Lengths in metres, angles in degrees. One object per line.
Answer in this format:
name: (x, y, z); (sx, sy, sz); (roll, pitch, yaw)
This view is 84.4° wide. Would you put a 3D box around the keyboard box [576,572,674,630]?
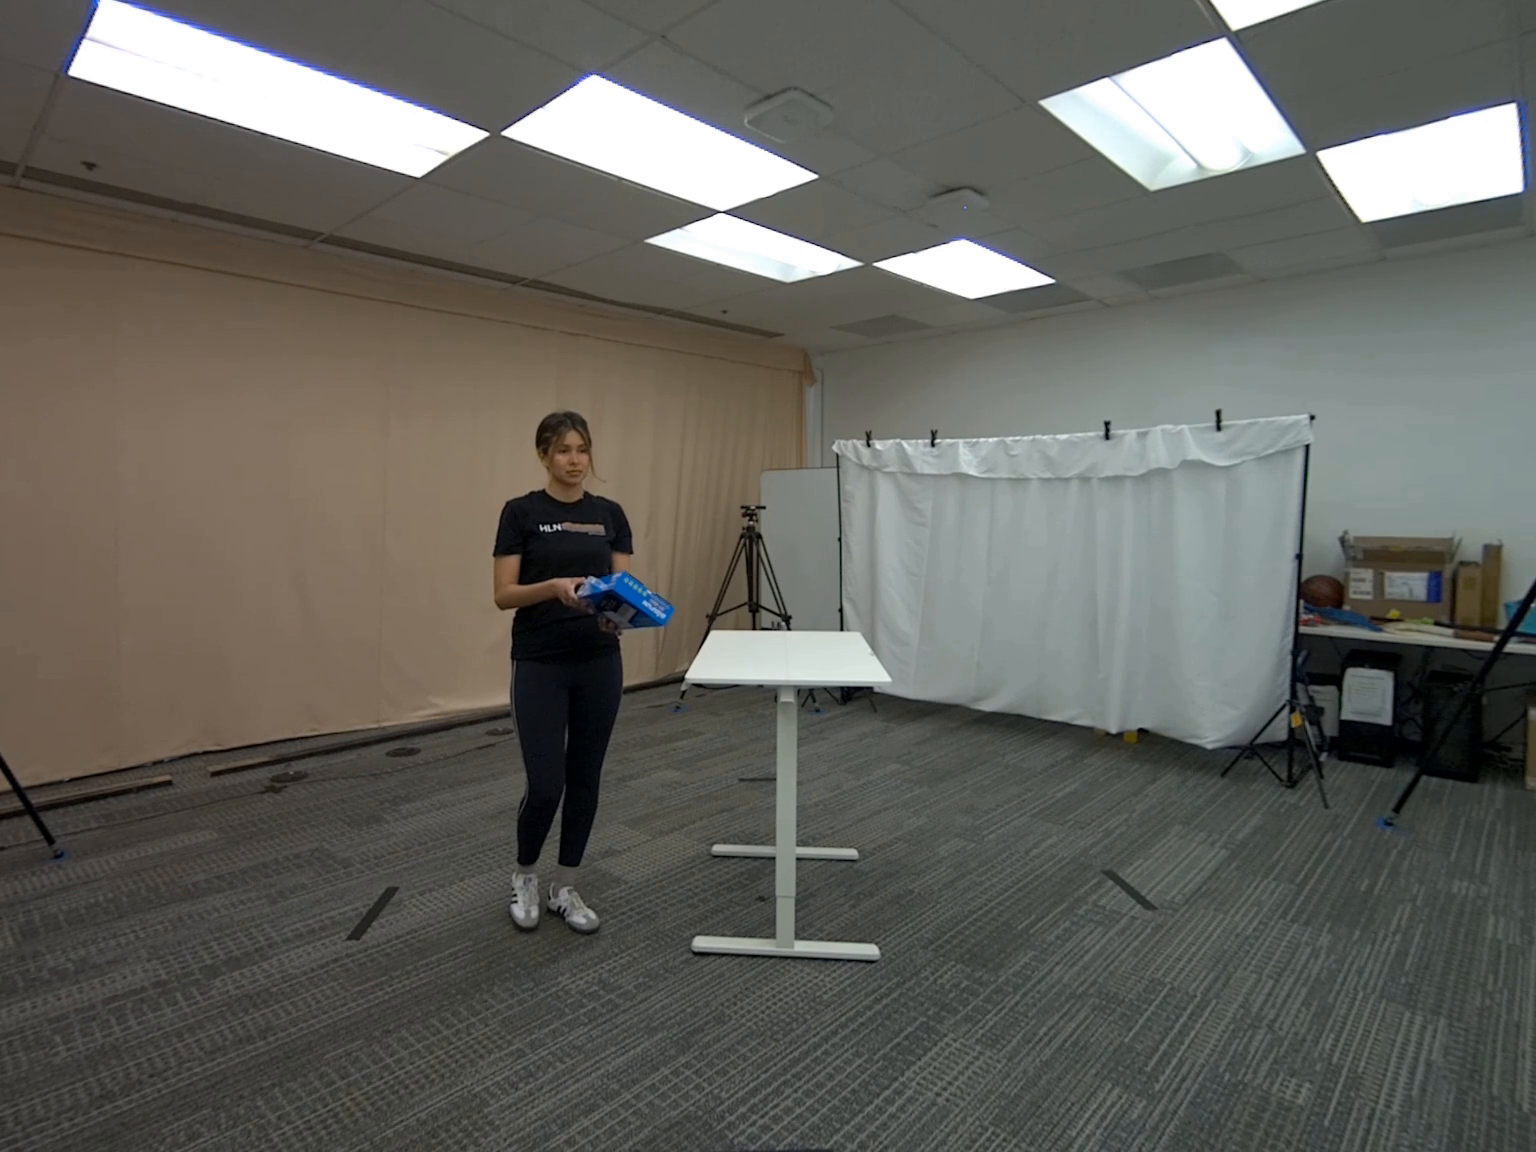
keyboard box: (-0.416, 0.081, 2.366); (0.172, 0.059, 0.446); (39, -20, -17)
